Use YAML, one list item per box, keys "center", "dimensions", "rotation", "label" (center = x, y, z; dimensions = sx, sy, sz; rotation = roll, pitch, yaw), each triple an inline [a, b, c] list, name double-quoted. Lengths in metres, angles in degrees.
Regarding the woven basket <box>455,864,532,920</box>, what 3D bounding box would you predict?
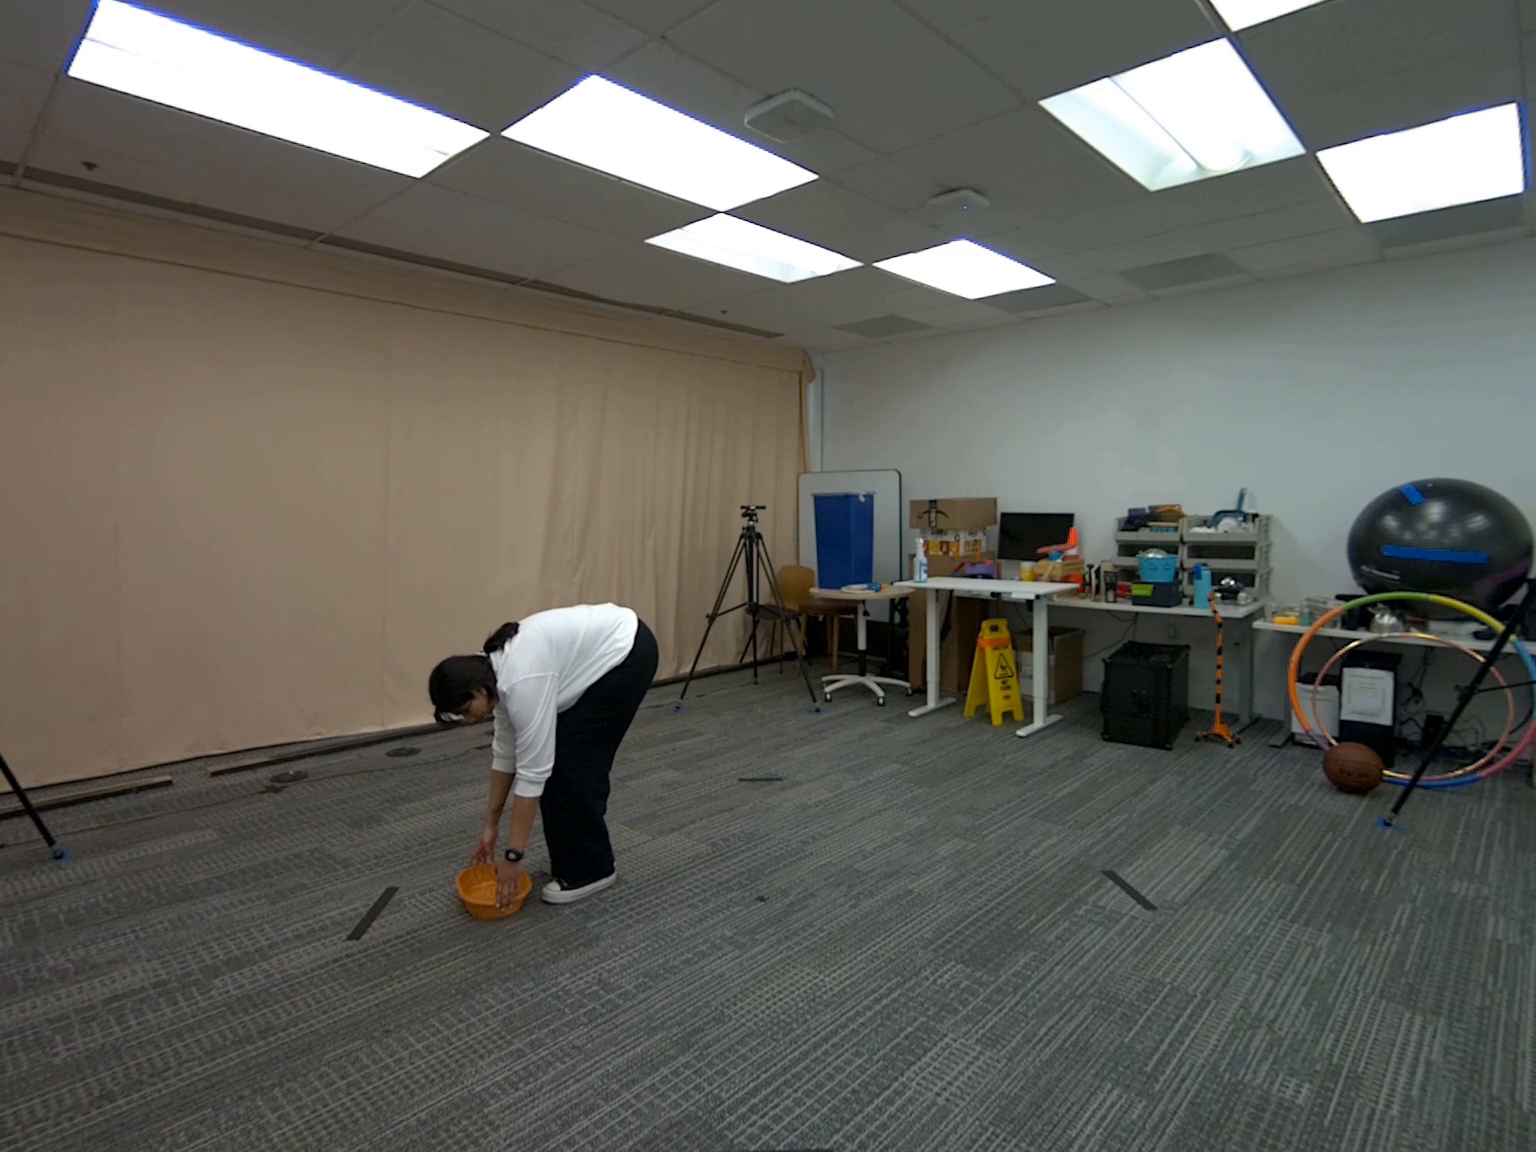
- center: [-0.962, 1.107, 2.985]
  dimensions: [0.245, 0.073, 0.360]
  rotation: [0, 1, -30]
  label: "woven basket"
